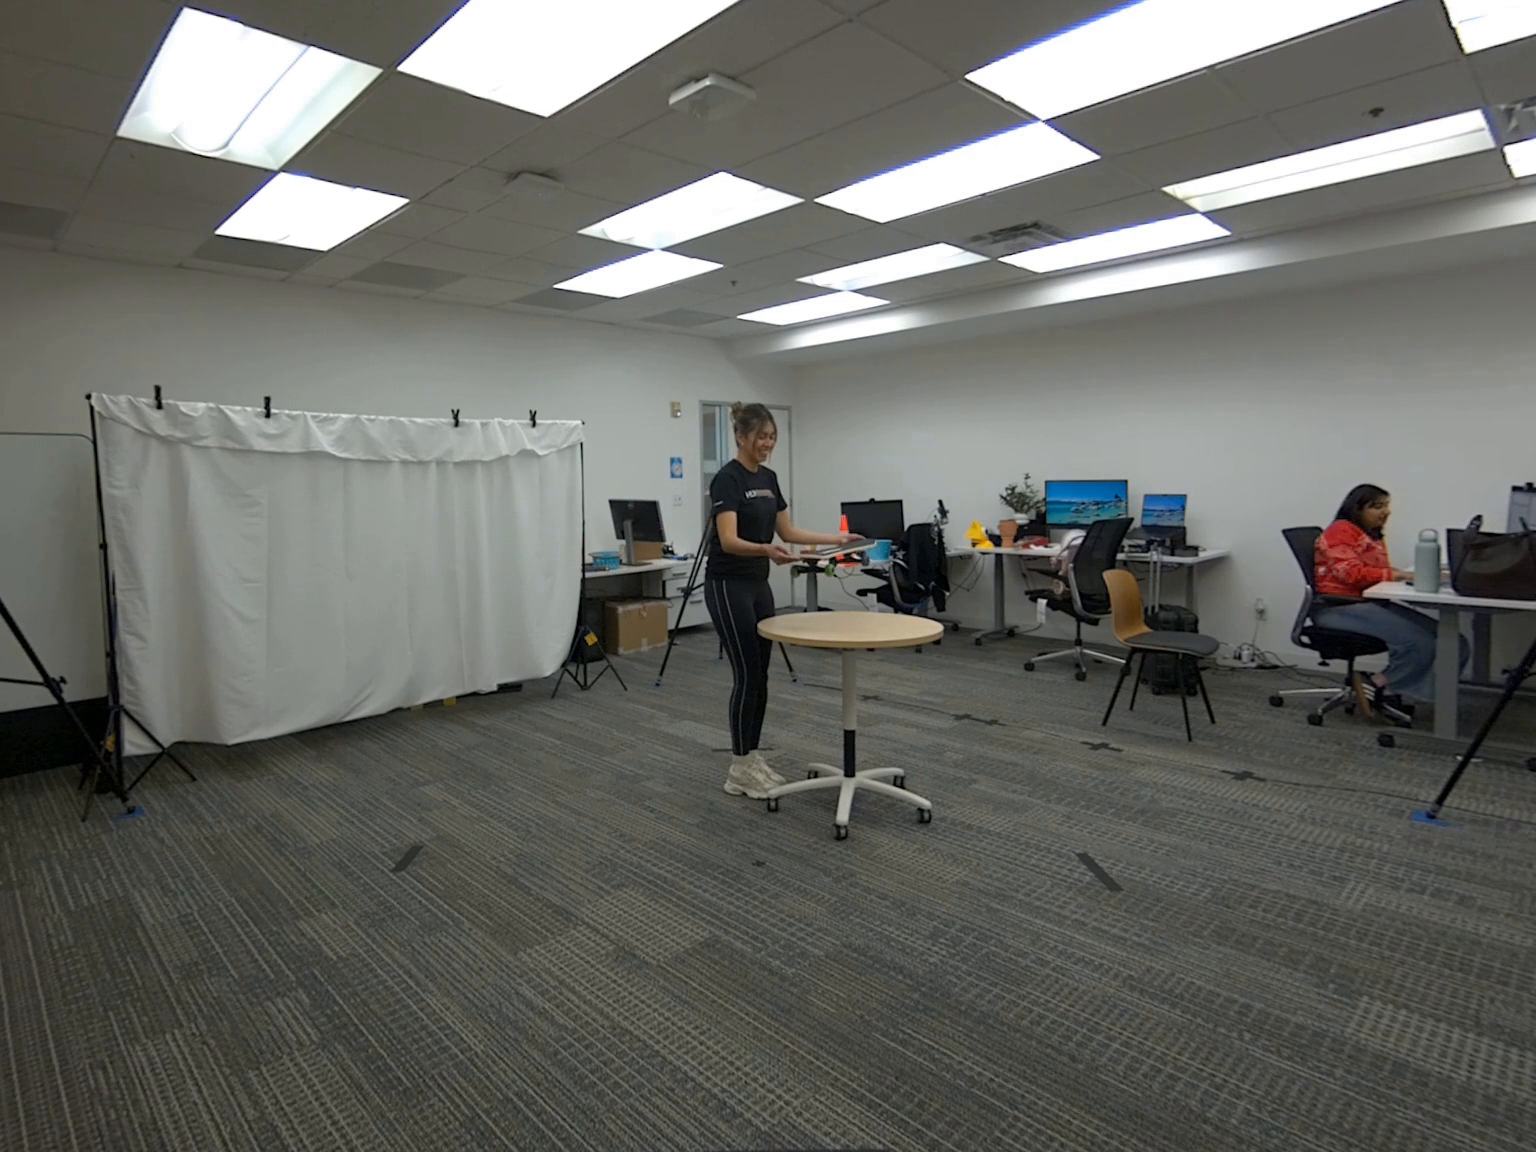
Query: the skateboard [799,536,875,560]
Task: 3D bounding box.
[{"bbox_3d":[0.255,-0.073,3.657,0.199,0.110,0.767,1,6,34],"label":"skateboard"}]
